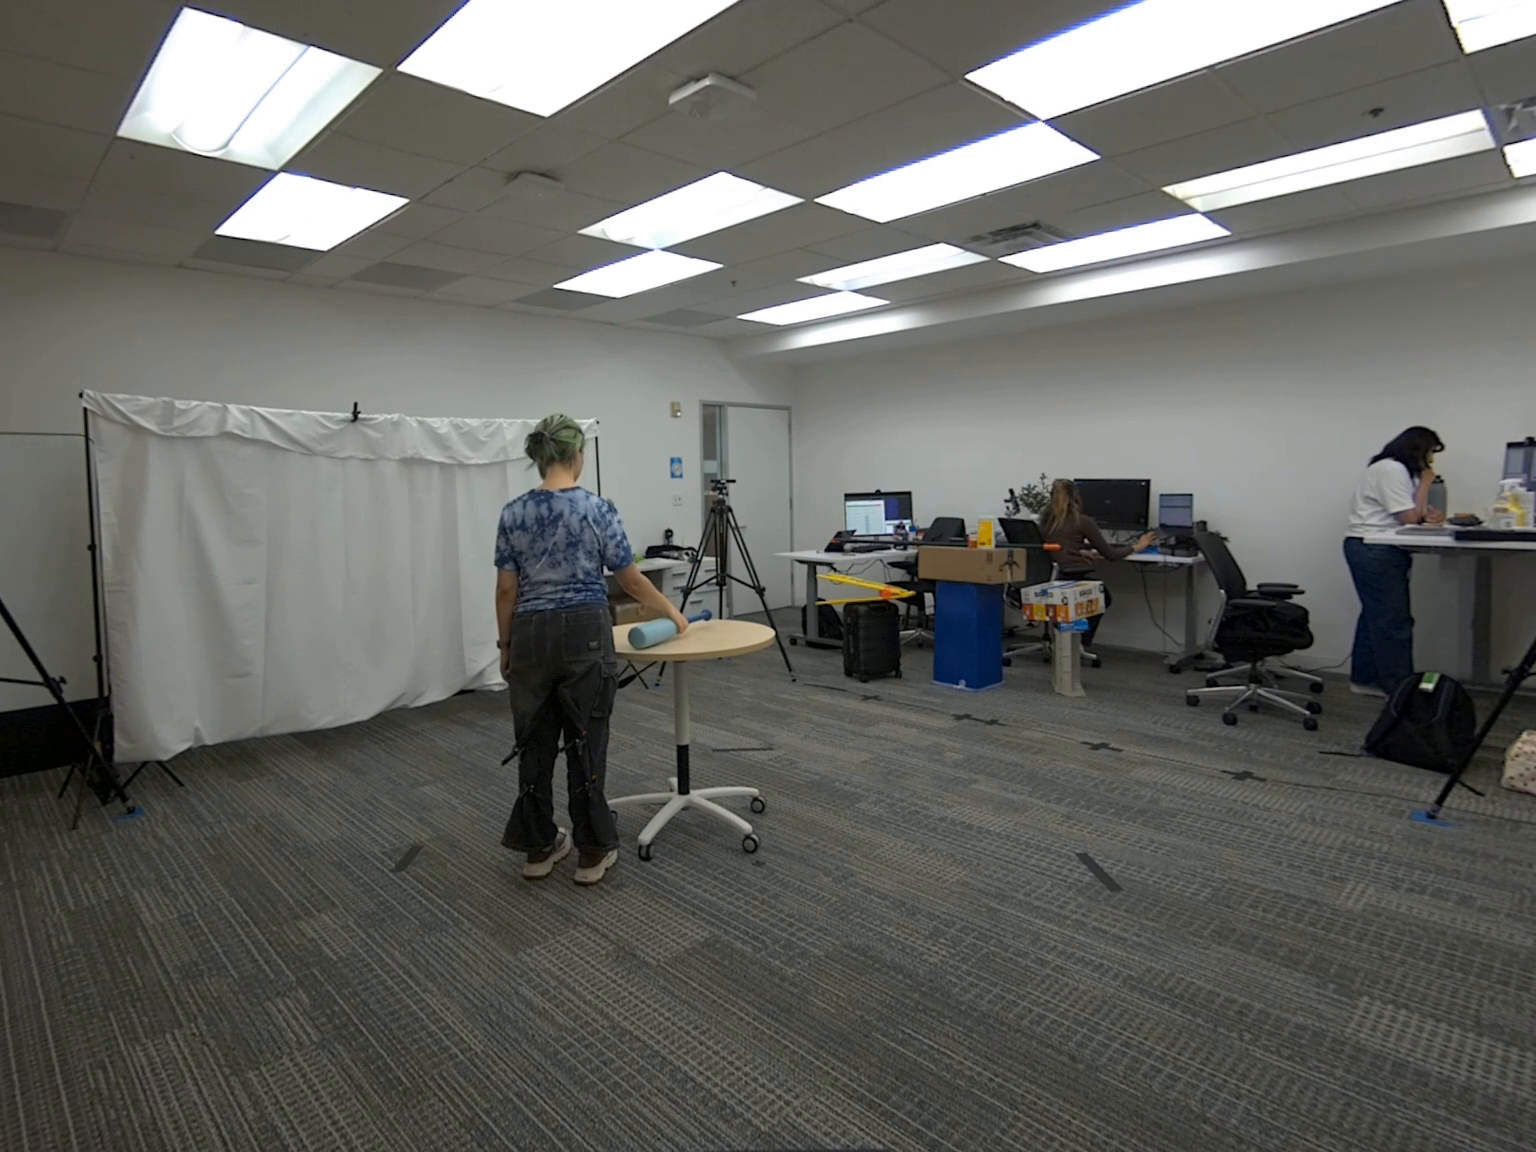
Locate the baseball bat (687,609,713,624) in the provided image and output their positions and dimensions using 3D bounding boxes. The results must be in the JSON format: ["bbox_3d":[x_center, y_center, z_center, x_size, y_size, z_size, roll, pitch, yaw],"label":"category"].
[{"bbox_3d":[-0.366,0.194,3.345,0.091,0.088,0.533,1,7,24],"label":"baseball bat"}]
